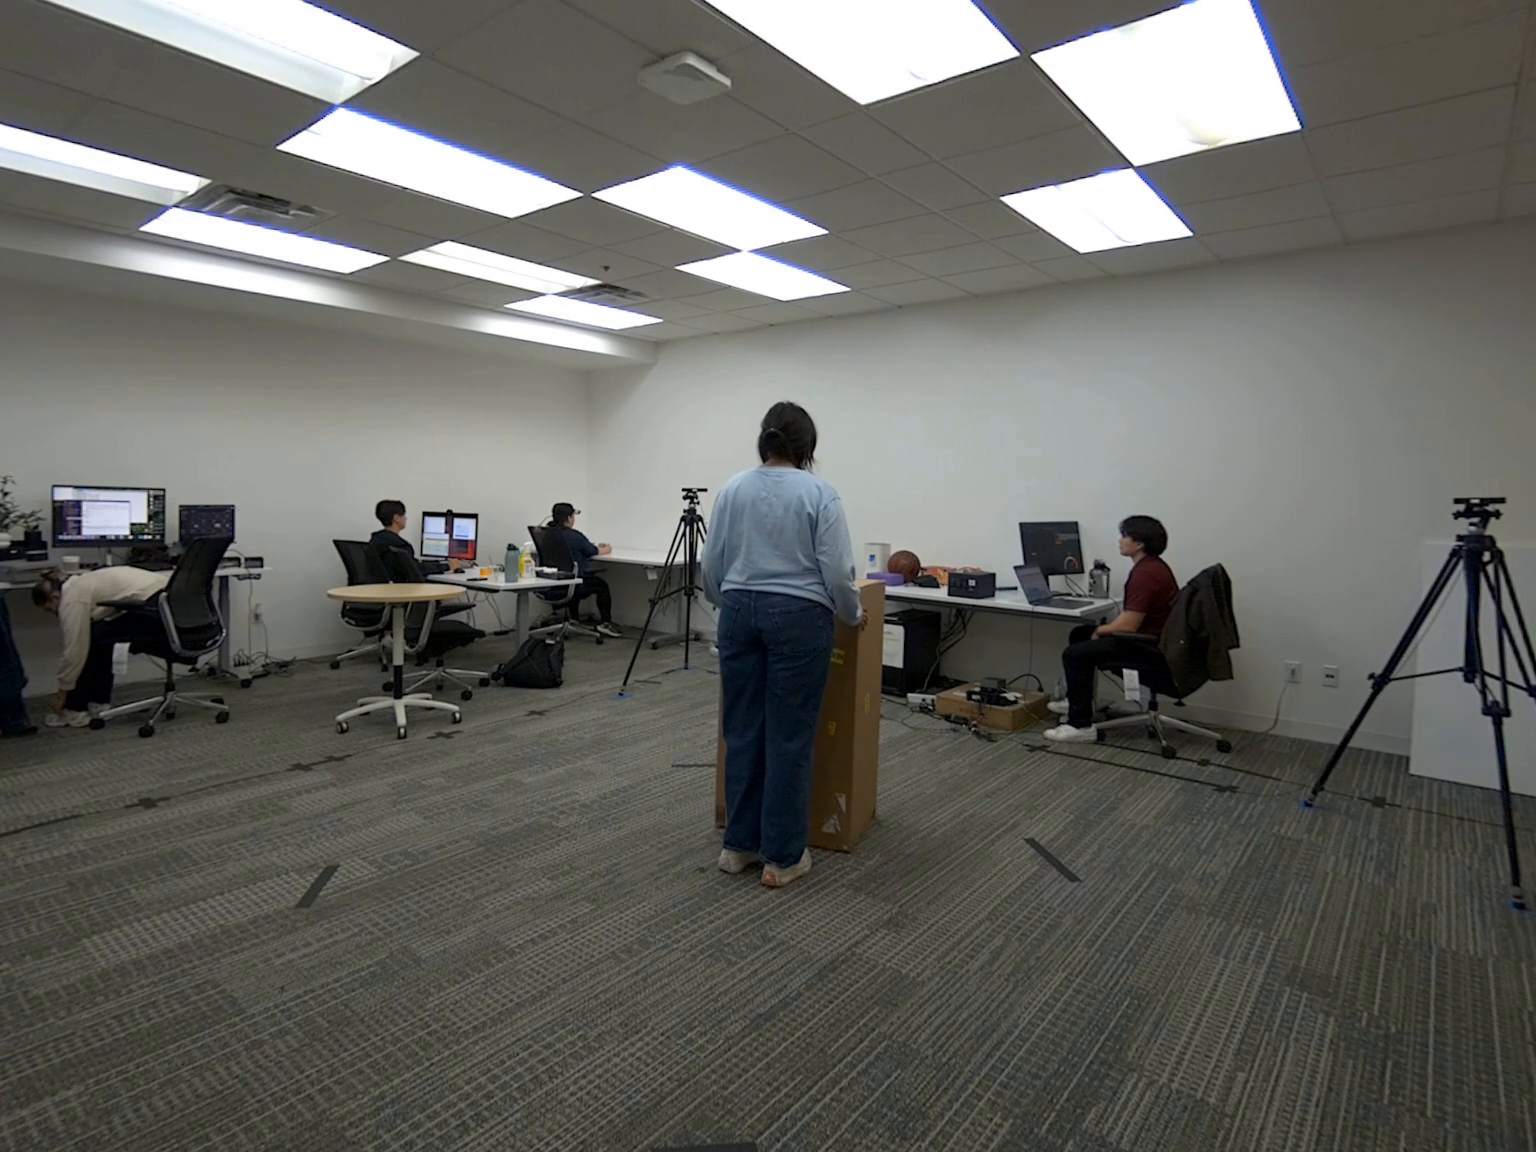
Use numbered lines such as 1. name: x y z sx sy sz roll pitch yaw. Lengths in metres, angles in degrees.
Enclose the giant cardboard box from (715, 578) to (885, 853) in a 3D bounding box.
1. giant cardboard box: 0.136 0.521 3.560 0.599 1.025 0.436 3 3 25
